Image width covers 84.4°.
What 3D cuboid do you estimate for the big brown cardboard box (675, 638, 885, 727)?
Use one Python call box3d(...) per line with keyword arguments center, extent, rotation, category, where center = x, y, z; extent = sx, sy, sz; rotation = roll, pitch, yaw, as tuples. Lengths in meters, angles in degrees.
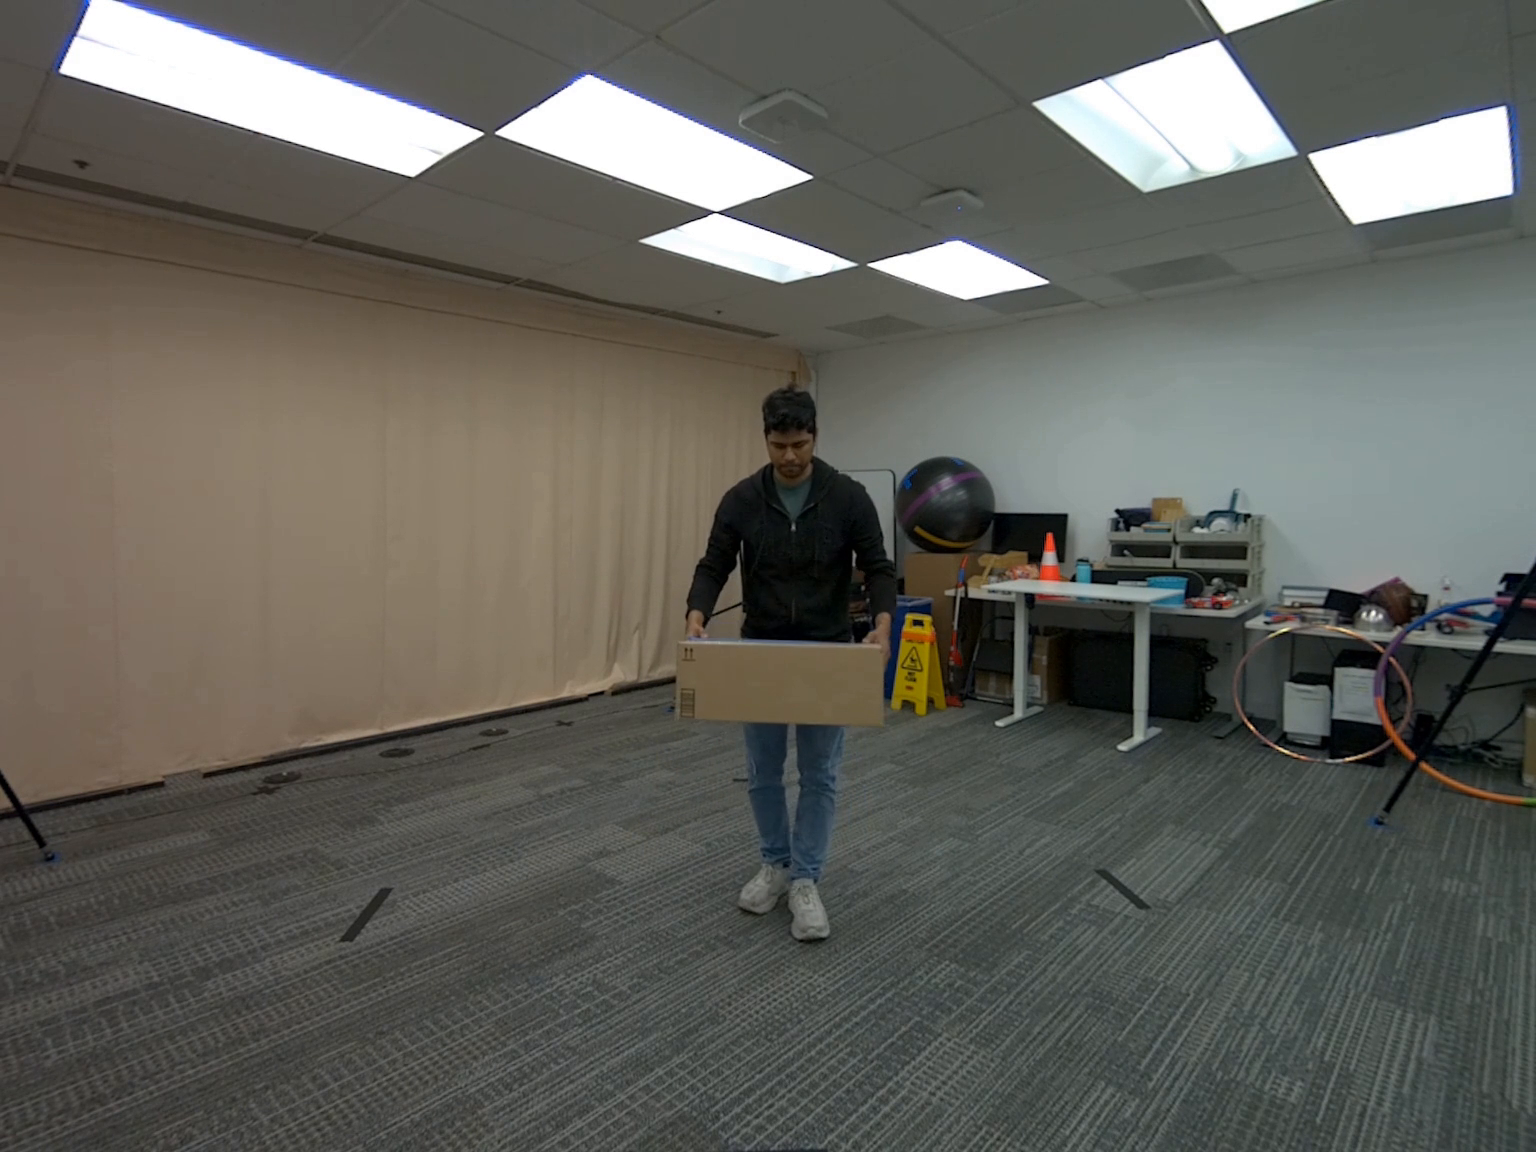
box3d(center=(0.037, 0.317, 2.501), extent=(0.593, 0.234, 0.414), rotation=(2, -4, 6), category="big brown cardboard box")
